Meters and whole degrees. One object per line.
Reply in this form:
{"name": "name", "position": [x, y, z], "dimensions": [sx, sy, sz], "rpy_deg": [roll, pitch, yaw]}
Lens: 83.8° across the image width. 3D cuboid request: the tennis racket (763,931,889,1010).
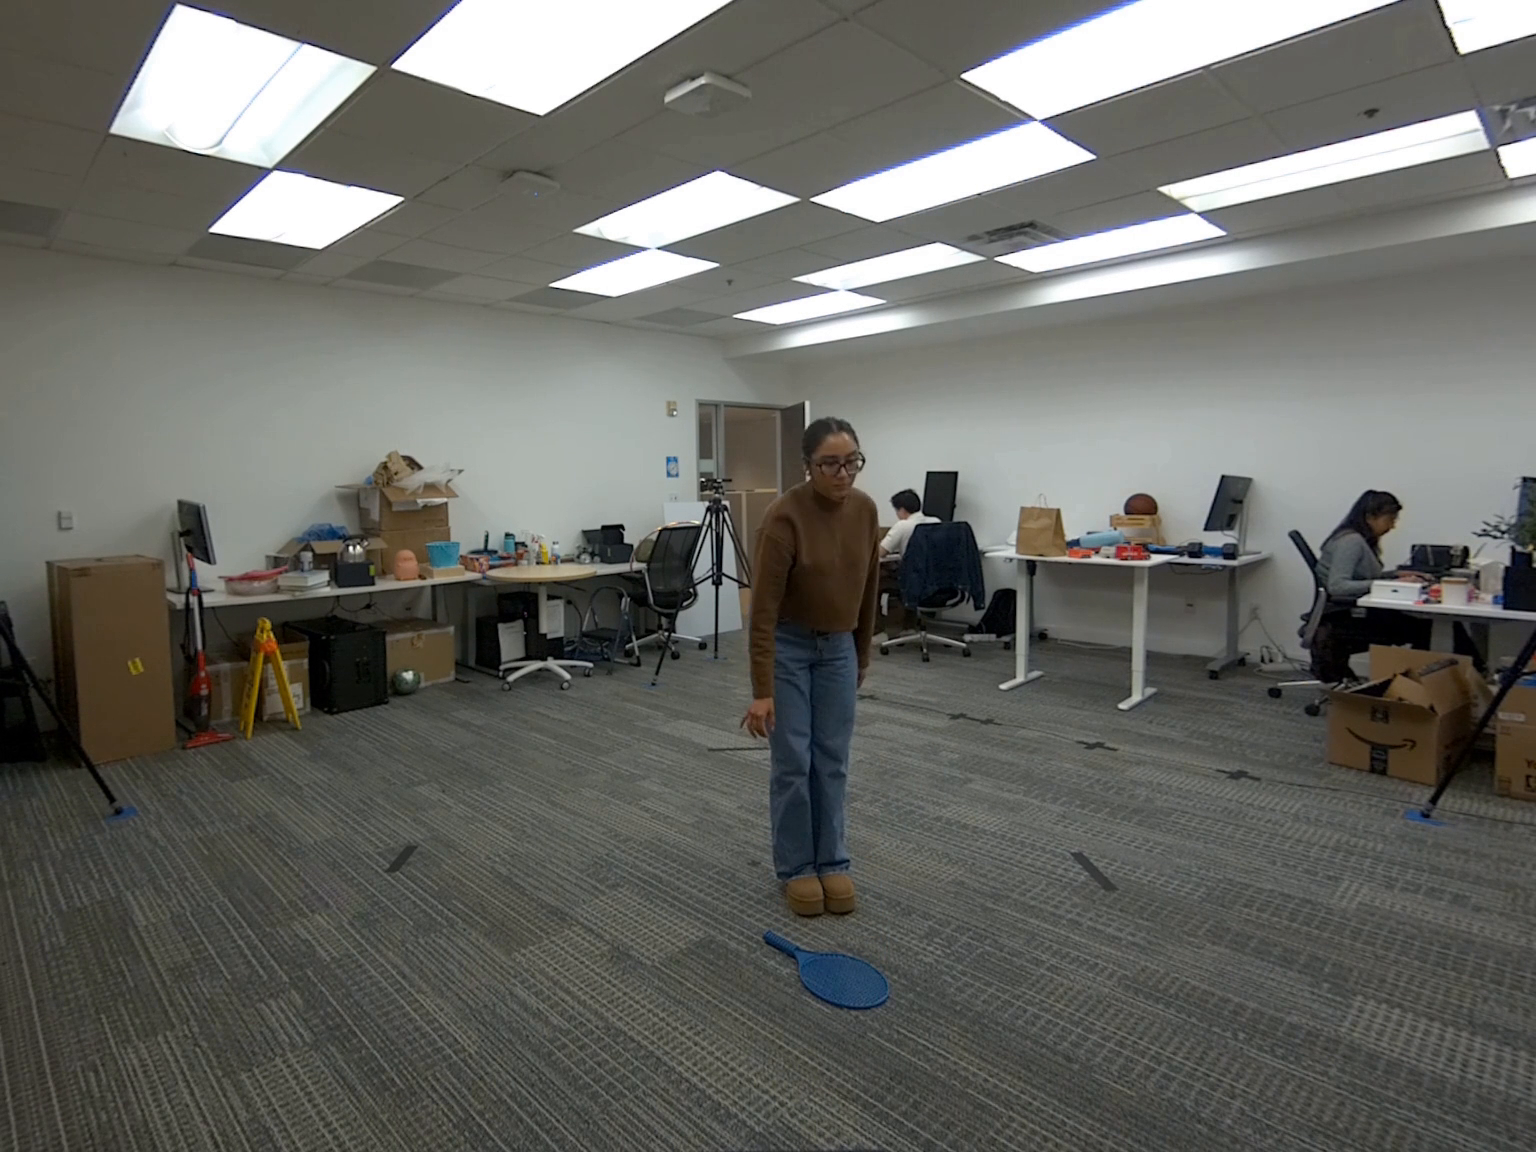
{"name": "tennis racket", "position": [0.155, 1.111, 2.426], "dimensions": [0.208, 0.031, 0.447], "rpy_deg": [-7, 10, -42]}
